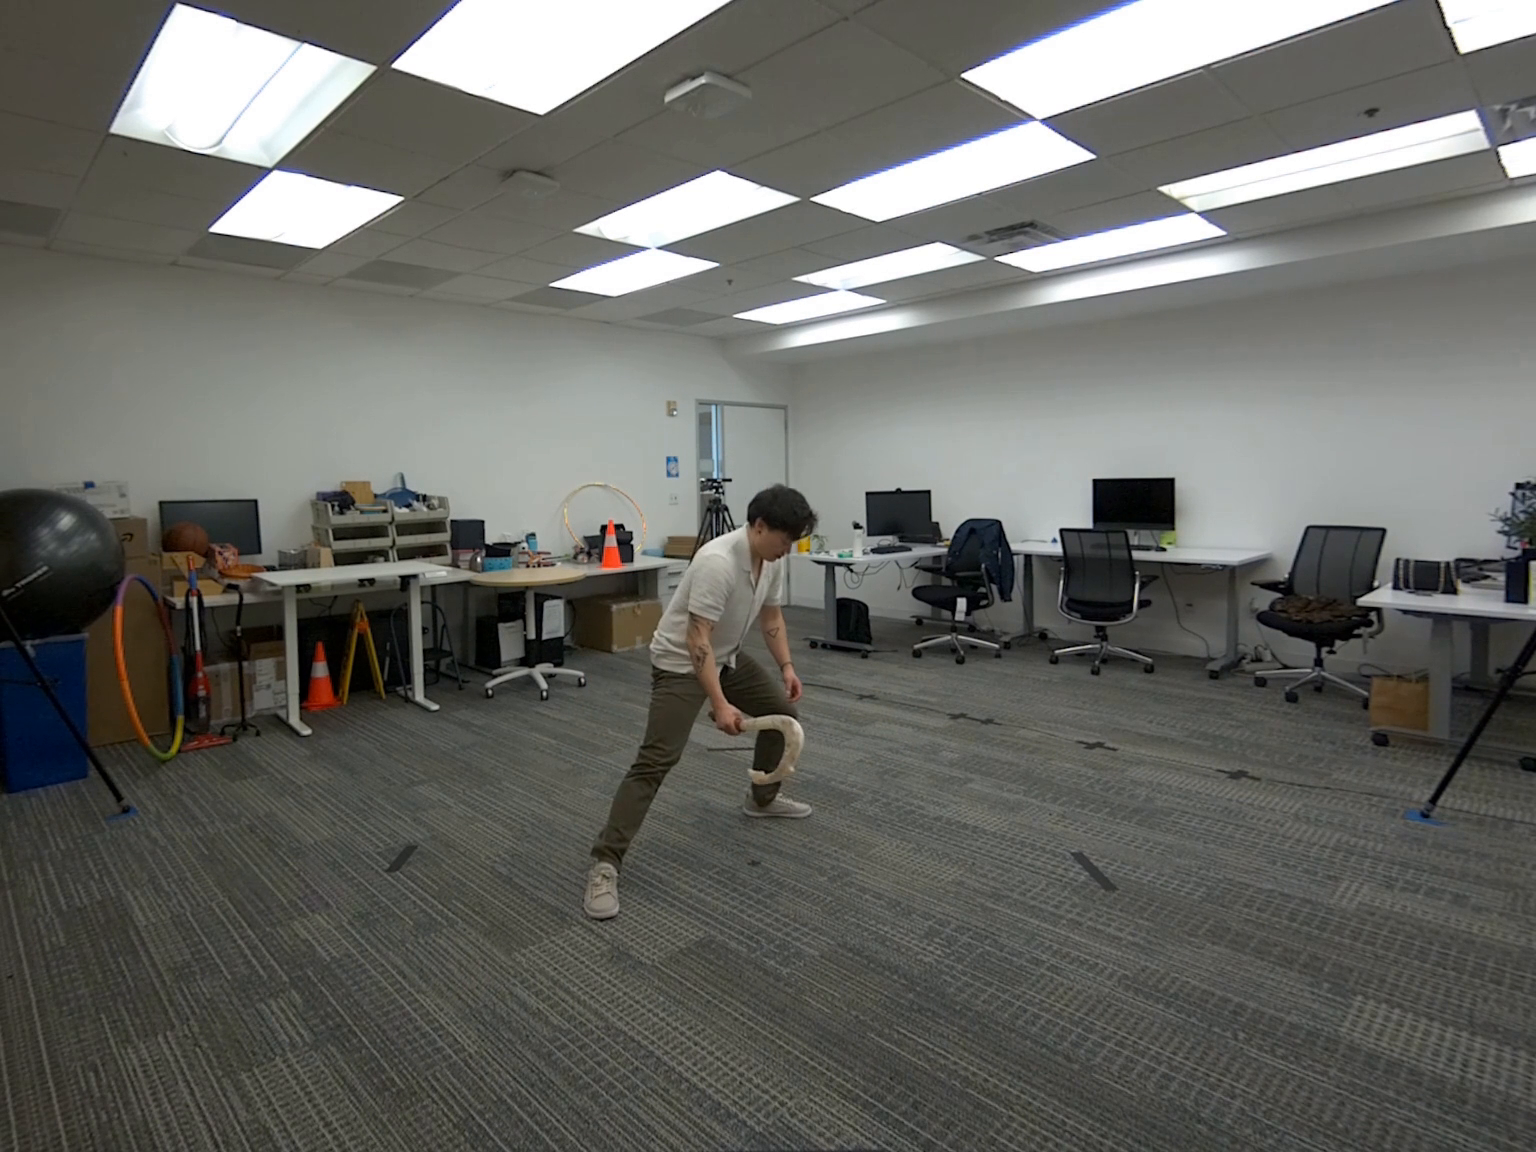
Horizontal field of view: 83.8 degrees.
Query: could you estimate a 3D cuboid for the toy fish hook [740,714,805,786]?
[{"bbox_3d":[-0.065,0.547,2.769,0.047,0.226,0.519,35,-19,-29],"label":"toy fish hook"}]
